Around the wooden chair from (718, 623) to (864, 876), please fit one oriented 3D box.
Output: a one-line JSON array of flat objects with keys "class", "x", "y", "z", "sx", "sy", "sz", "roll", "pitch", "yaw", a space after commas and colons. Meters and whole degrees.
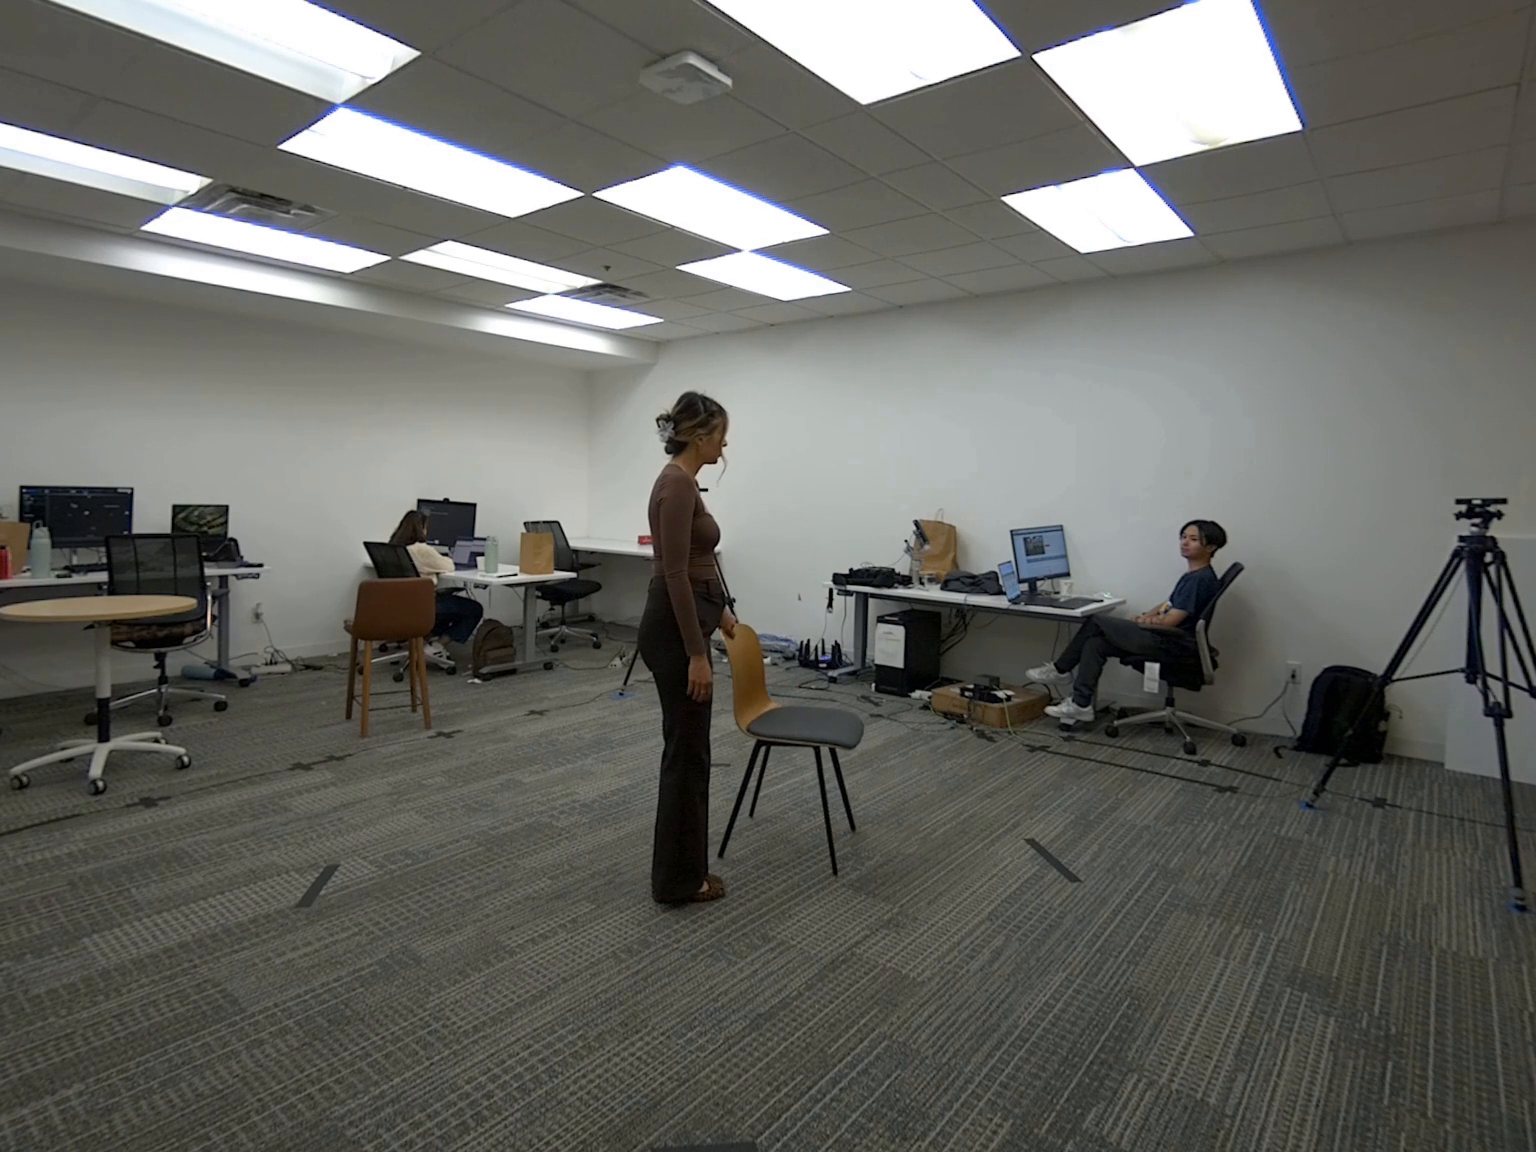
[{"class": "wooden chair", "x": 0.098, "y": 0.625, "z": 3.331, "sx": 0.532, "sy": 0.876, "sz": 0.471, "roll": -2, "pitch": 2, "yaw": 16}]
